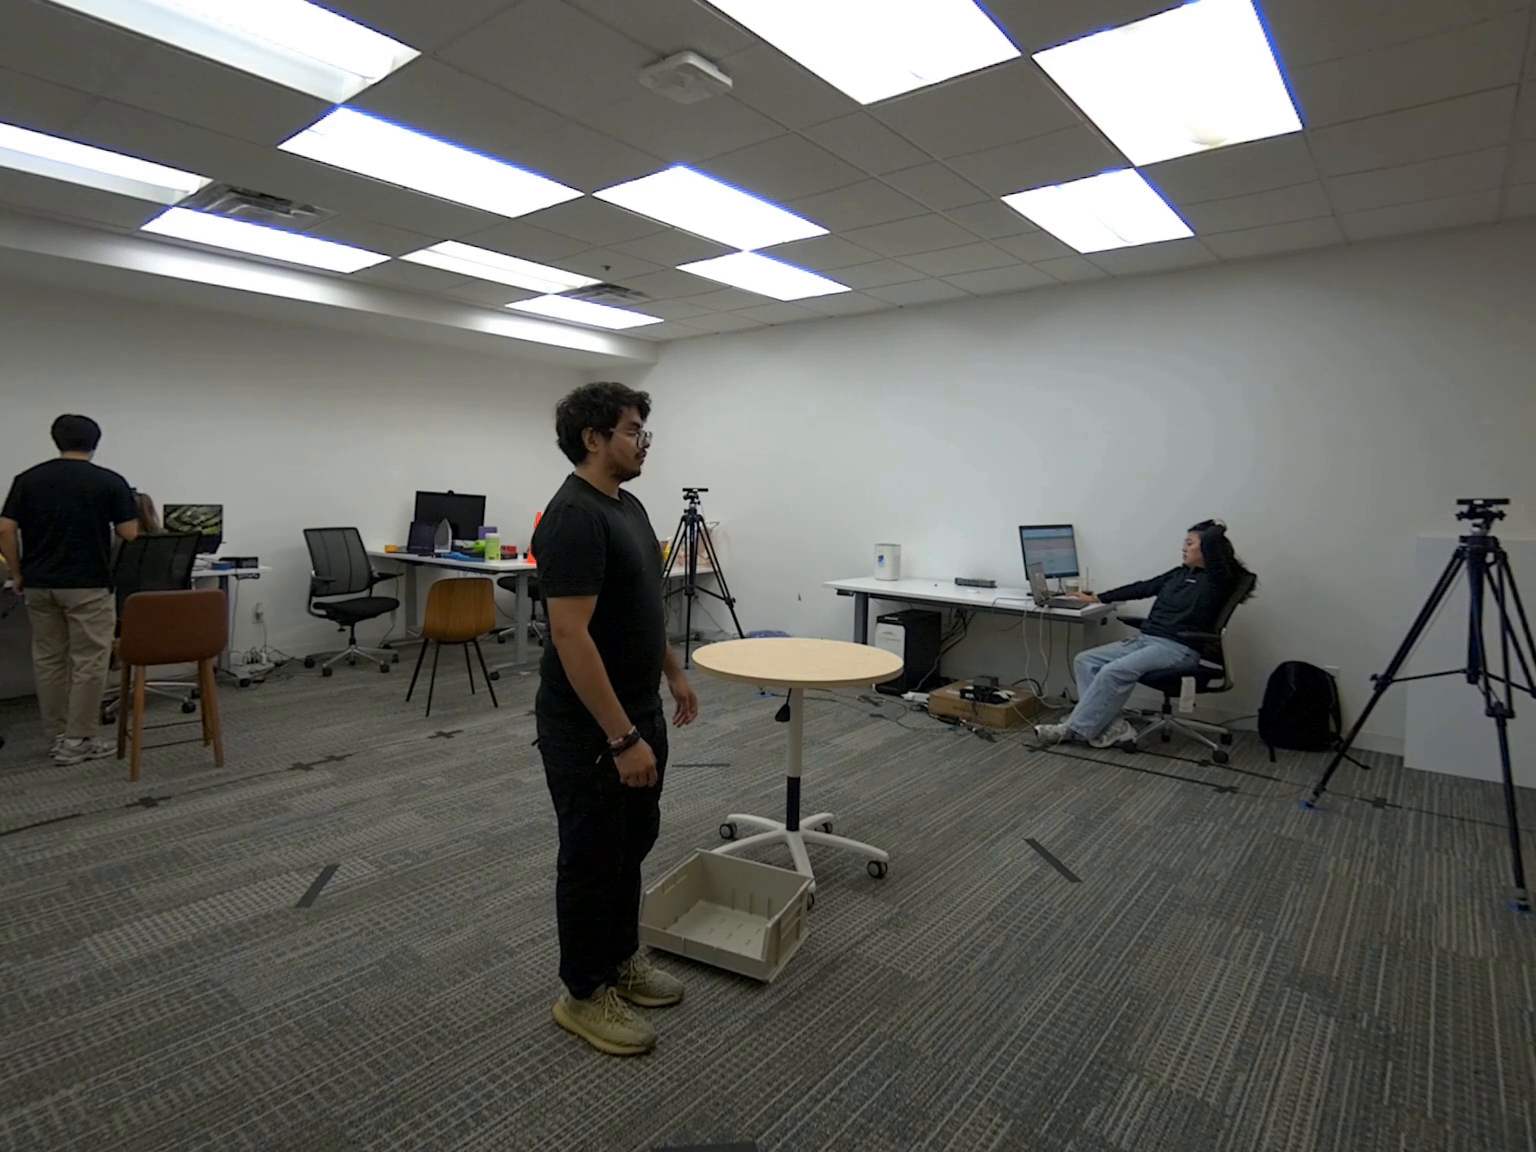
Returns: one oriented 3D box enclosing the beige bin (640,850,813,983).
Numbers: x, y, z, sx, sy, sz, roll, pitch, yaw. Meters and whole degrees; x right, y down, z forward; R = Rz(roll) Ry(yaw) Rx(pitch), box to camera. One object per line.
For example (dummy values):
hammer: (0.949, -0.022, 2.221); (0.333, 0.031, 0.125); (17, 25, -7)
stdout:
beige bin: (-0.130, 1.034, 2.607); (0.433, 0.188, 0.368); (3, 4, 25)
